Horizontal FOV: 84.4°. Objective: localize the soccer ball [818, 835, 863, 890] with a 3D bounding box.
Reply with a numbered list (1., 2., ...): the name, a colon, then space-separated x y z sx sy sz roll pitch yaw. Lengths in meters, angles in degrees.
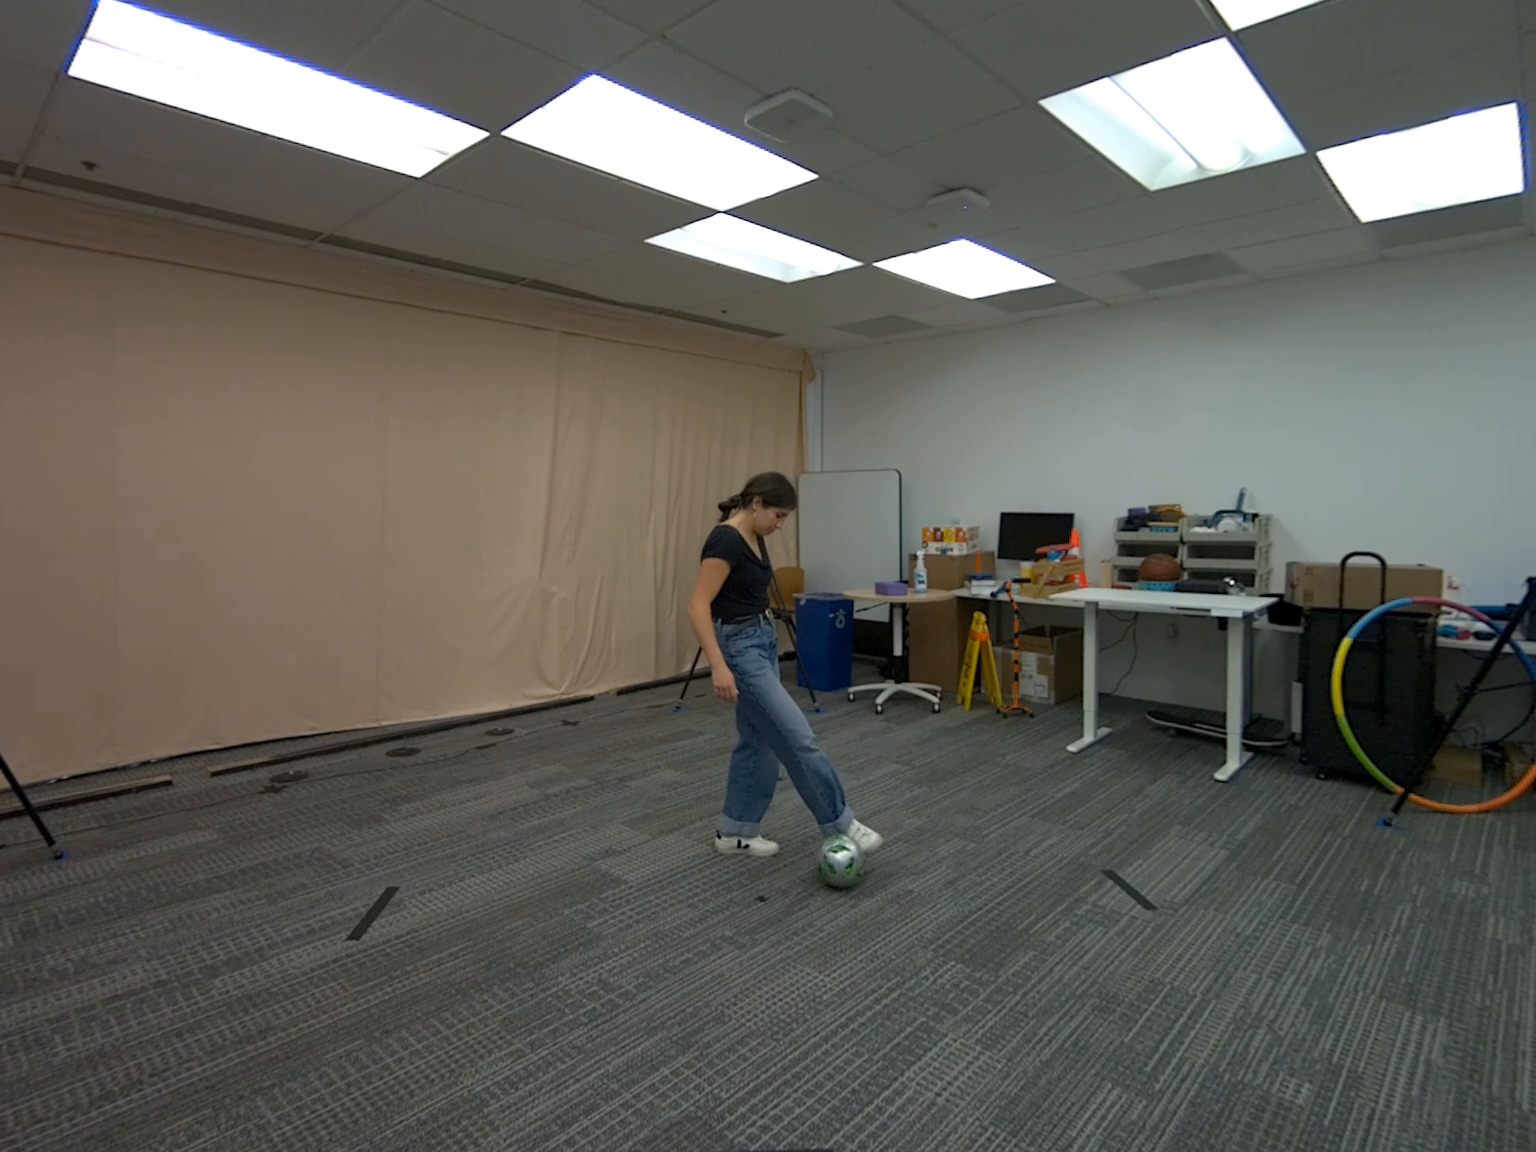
1. soccer ball: 0.255 1.039 3.076 0.187 0.187 0.188 0 4 -2
